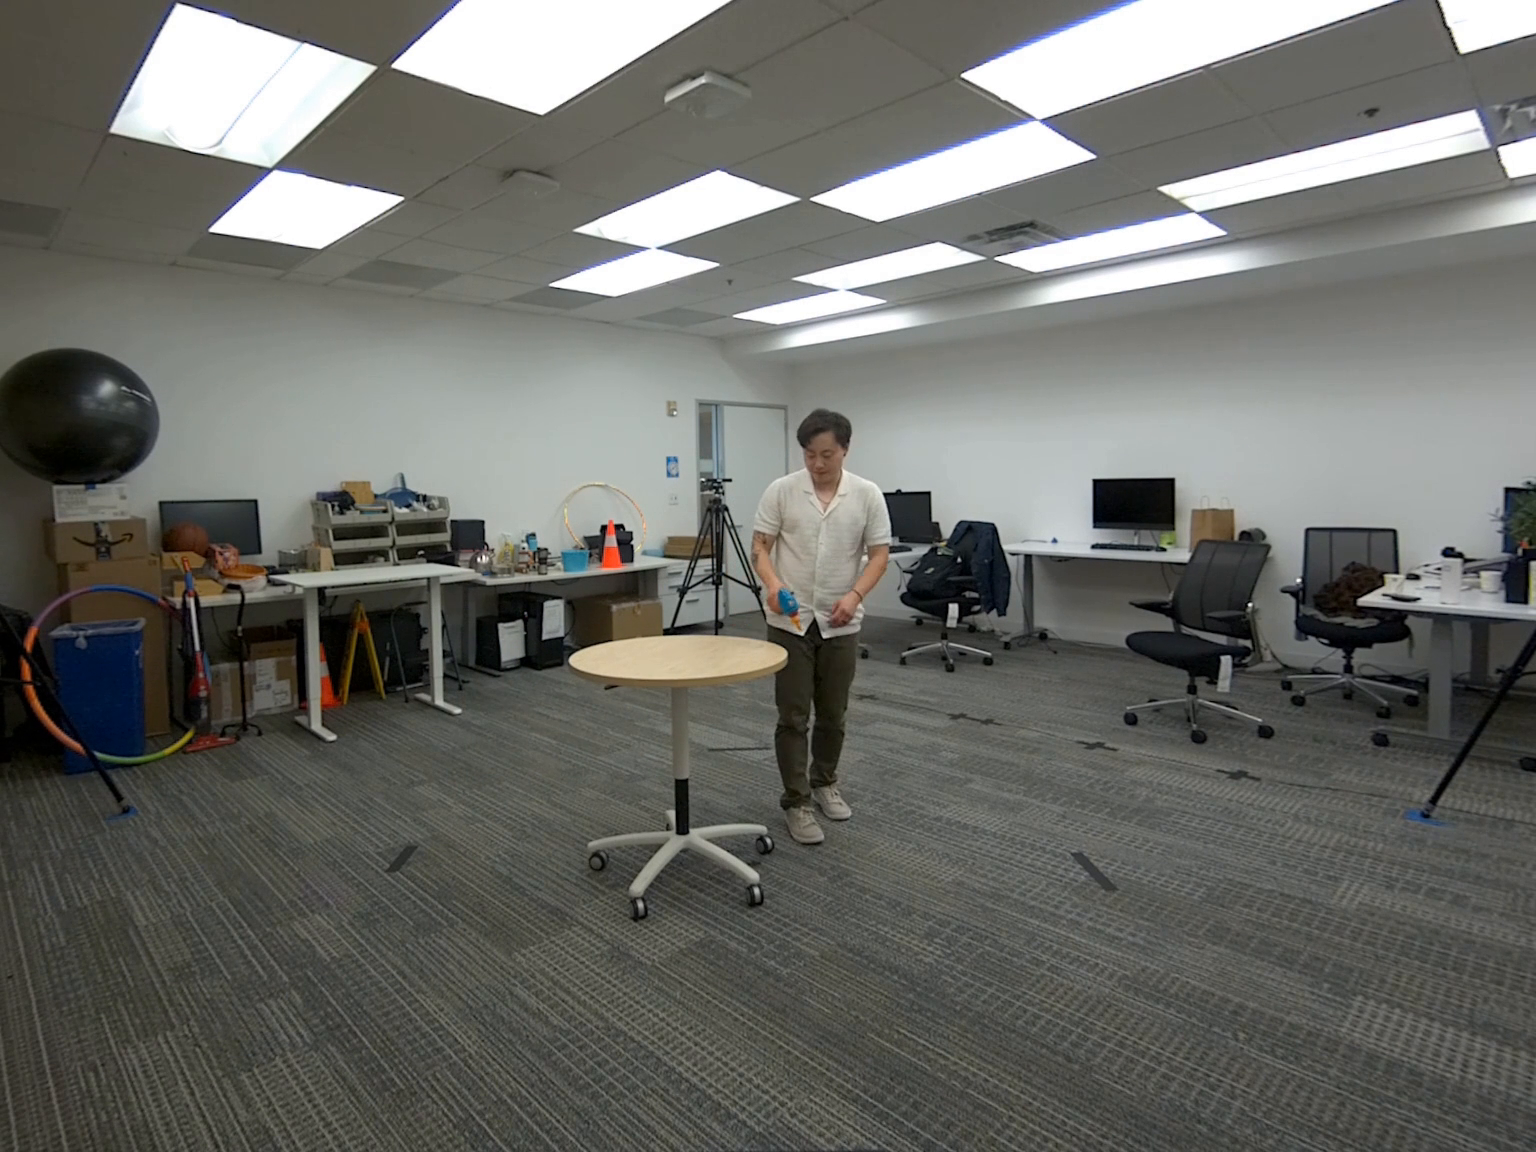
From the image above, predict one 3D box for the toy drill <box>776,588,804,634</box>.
[{"bbox_3d":[0.063,0.134,3.149,0.061,0.171,0.146,-15,-6,-10],"label":"toy drill"}]
